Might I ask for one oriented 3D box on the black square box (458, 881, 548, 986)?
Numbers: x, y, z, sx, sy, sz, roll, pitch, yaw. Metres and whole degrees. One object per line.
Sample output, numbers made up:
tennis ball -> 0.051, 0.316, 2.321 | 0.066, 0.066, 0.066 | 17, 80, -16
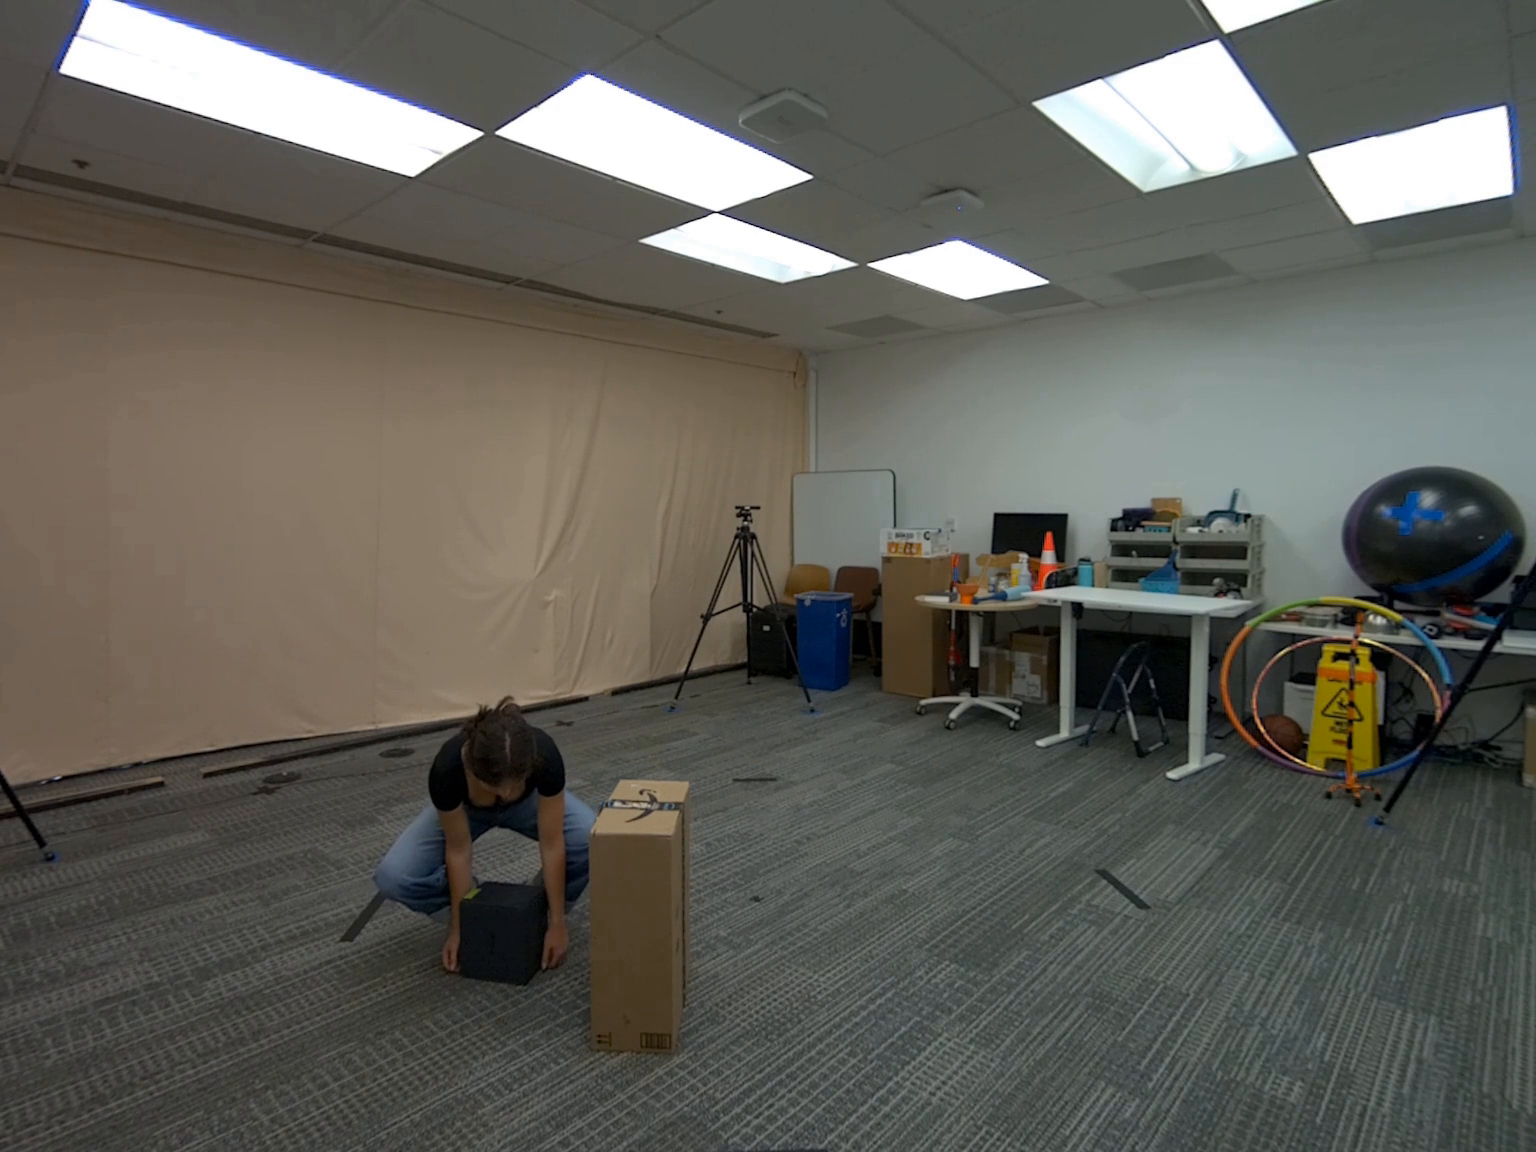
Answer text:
black square box -> -0.796, 1.074, 2.540 | 0.220, 0.227, 0.154 | 1, 6, 12
